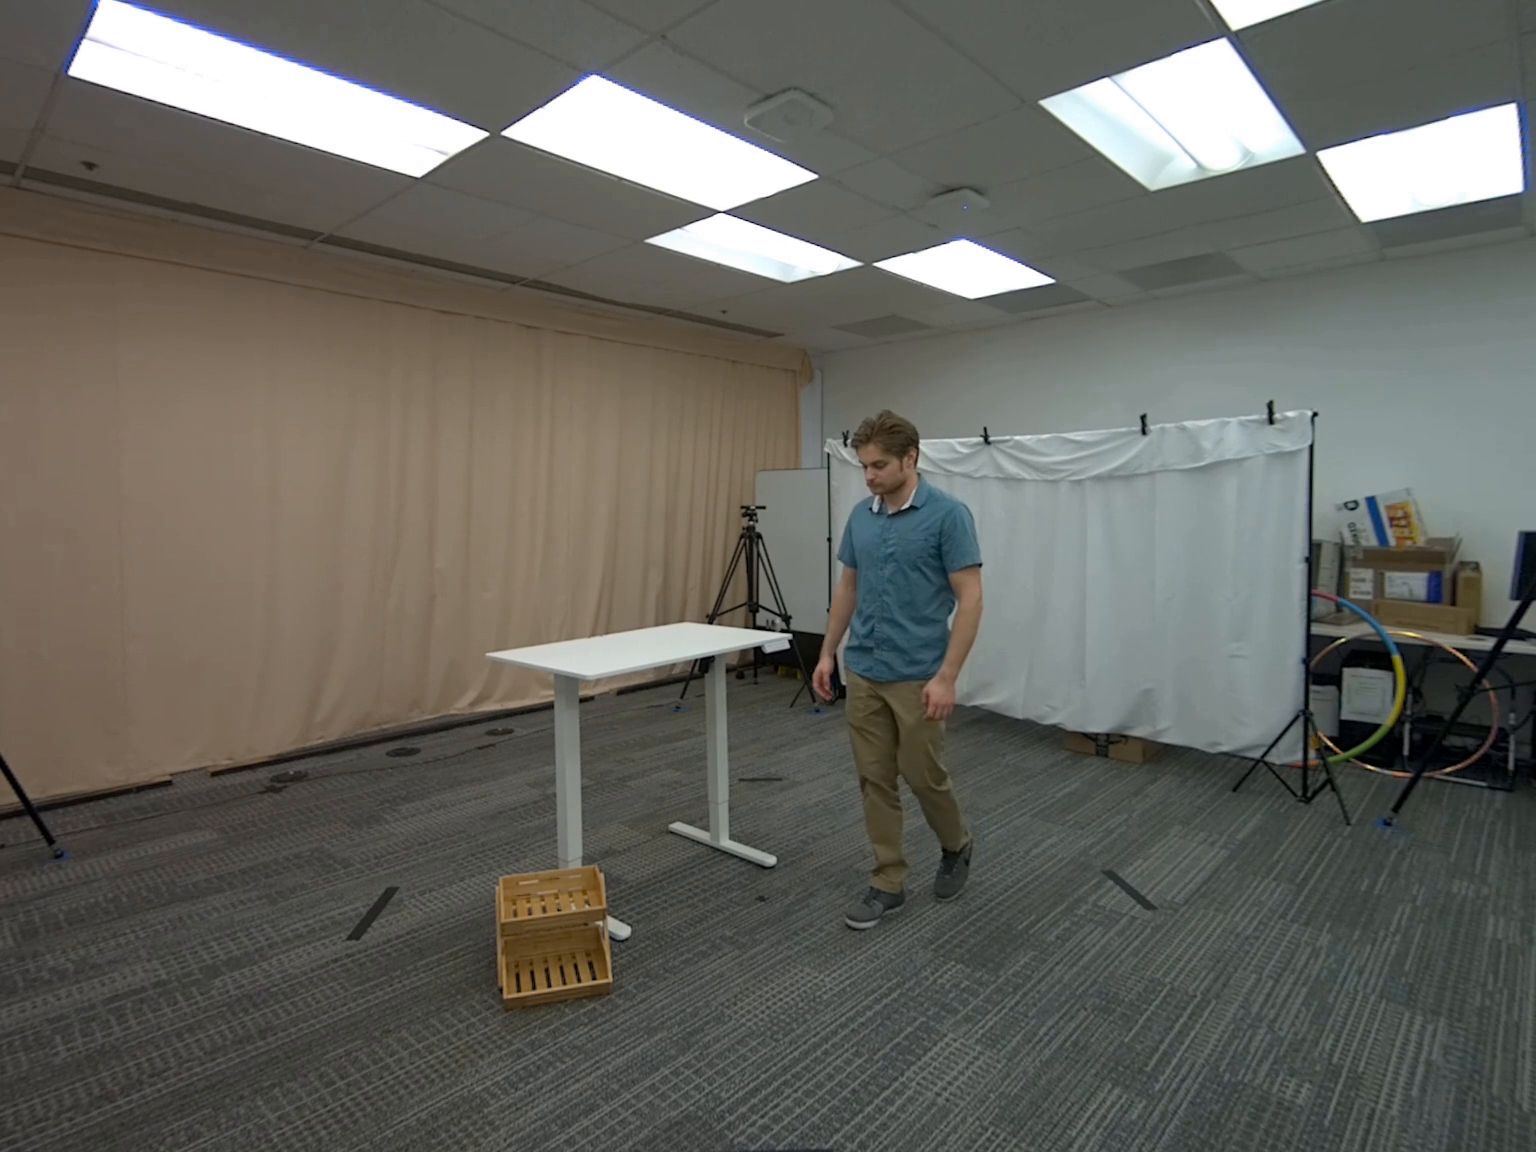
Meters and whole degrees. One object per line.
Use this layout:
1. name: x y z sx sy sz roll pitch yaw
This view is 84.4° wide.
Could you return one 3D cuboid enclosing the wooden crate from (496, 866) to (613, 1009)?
1. wooden crate: -0.632 1.057 2.480 0.318 0.273 0.308 -1 3 -19
